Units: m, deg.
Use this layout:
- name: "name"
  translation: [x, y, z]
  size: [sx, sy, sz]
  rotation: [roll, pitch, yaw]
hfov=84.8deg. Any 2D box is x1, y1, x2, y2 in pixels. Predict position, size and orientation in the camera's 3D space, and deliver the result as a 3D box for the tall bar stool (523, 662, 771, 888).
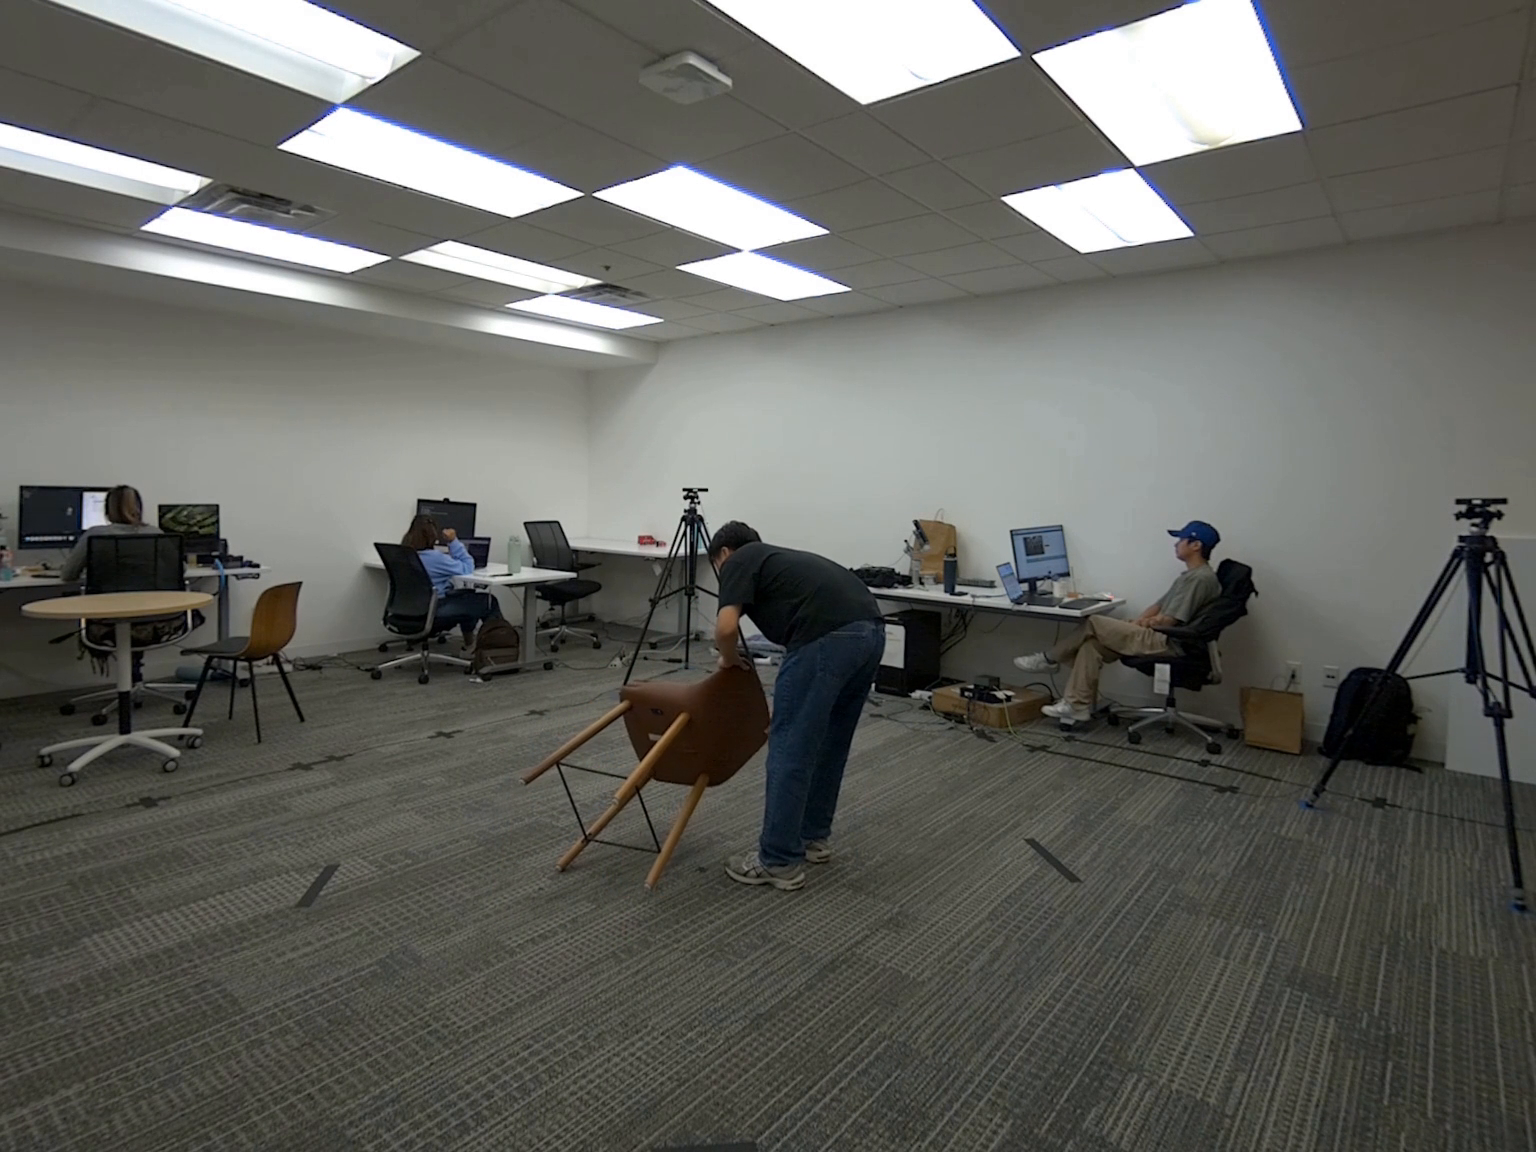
- name: "tall bar stool"
  translation: [-0.432, 0.688, 3.209]
  size: [0.481, 0.446, 0.886]
  rotation: [-4, 25, 33]
